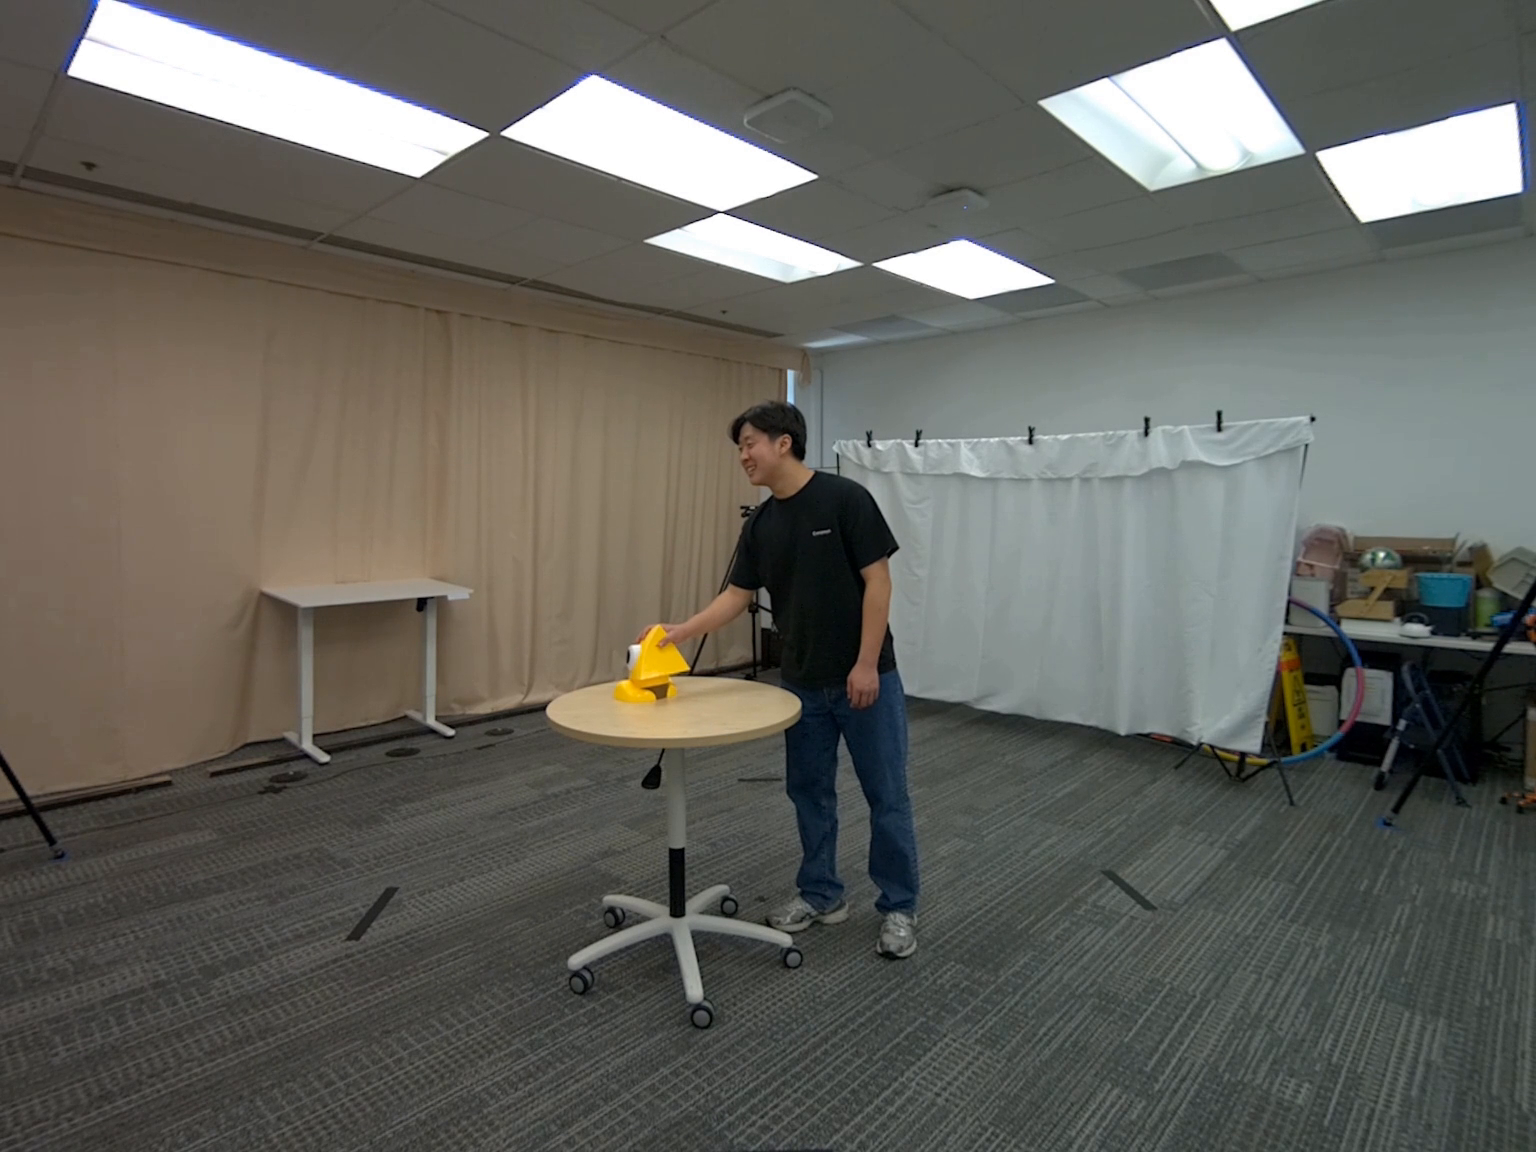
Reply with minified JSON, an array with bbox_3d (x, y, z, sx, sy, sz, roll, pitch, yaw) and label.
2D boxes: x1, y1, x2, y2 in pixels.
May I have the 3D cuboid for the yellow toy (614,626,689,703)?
[{"bbox_3d":[-0.379,0.268,2.652,0.199,0.230,0.198,4,6,44],"label":"yellow toy"}]
